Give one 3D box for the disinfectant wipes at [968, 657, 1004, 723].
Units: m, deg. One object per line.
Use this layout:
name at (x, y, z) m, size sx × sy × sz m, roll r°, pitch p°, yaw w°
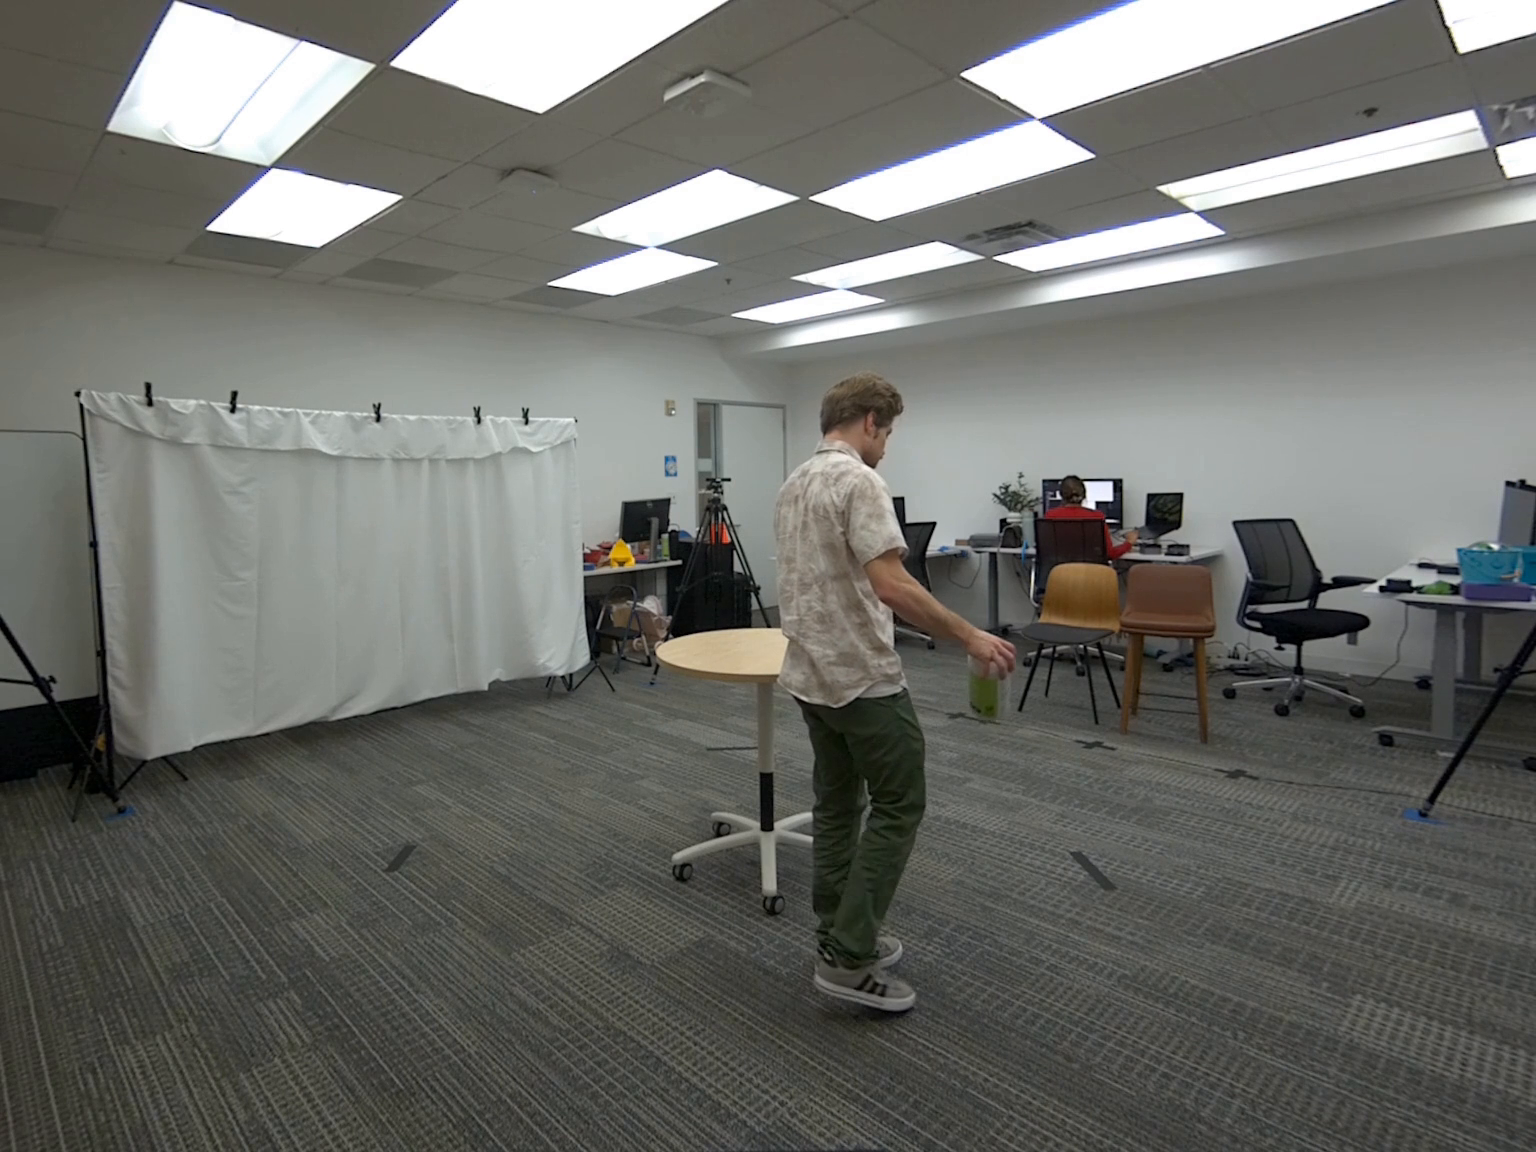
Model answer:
disinfectant wipes at (0.597, 0.283, 2.308) m, size 0.118 × 0.210 × 0.121 m, roll -8°, pitch 39°, yaw 5°
